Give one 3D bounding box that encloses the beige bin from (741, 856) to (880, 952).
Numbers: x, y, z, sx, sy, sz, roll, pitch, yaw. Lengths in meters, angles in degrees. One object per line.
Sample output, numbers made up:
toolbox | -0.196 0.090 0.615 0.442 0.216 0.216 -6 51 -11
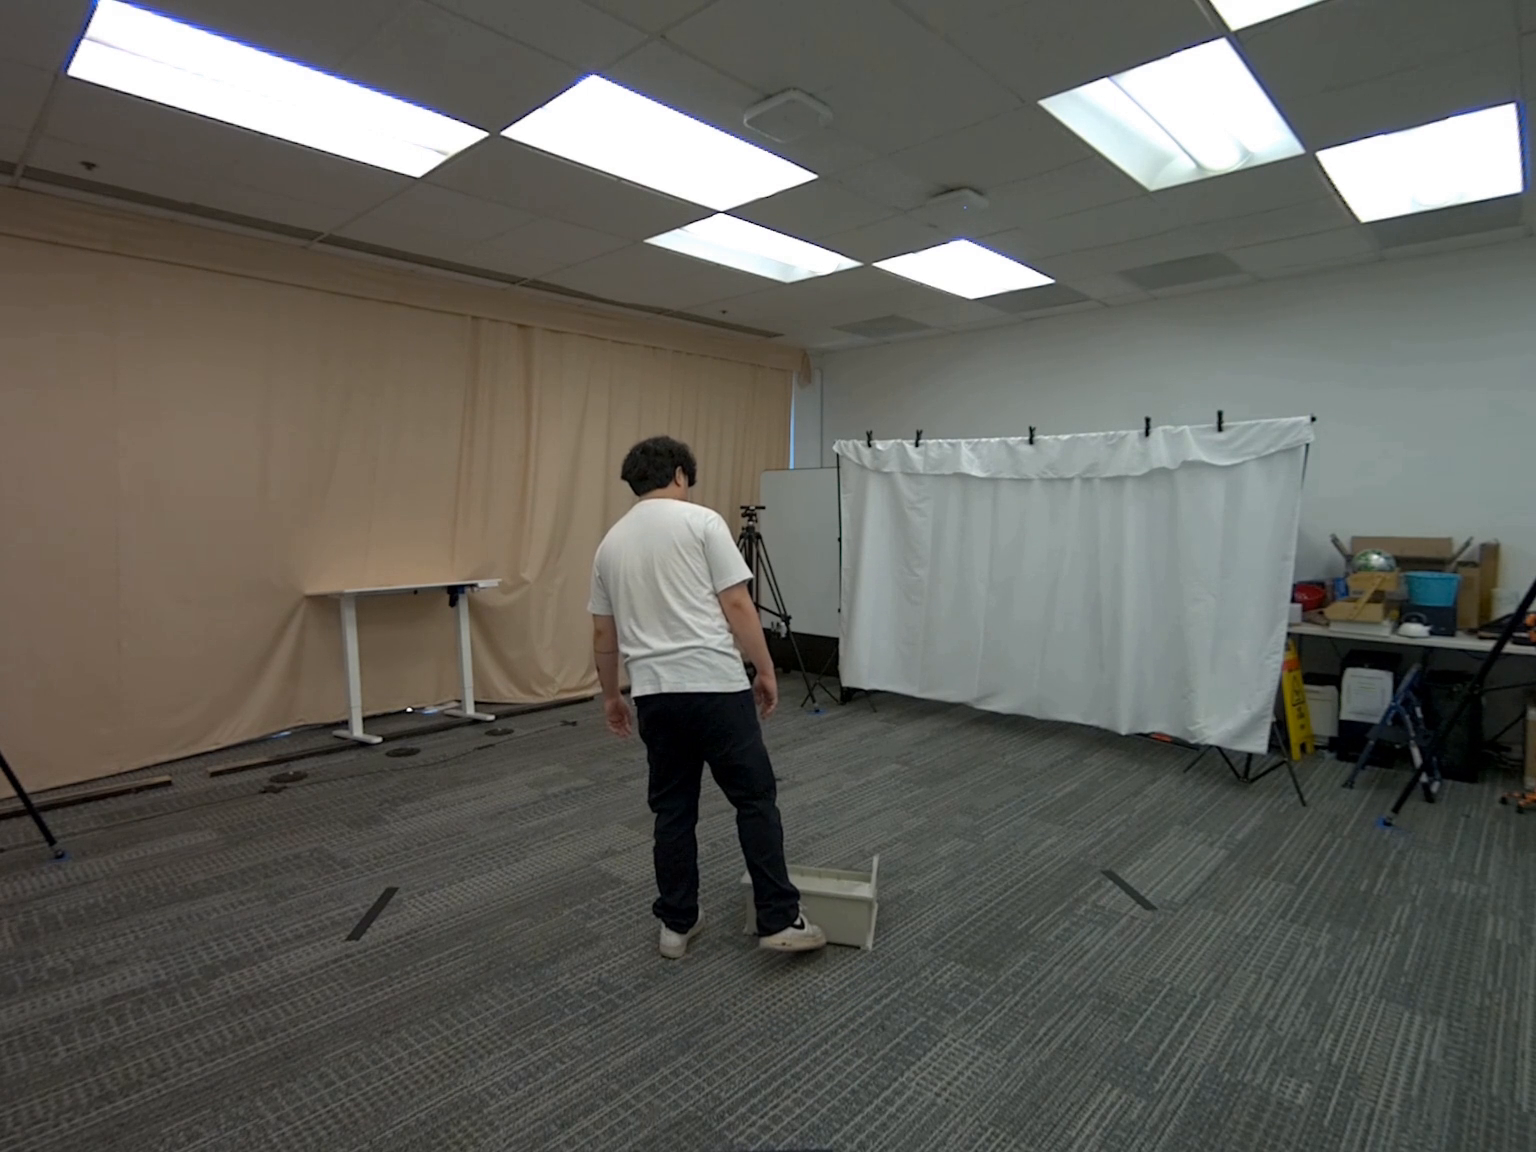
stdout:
beige bin | 0.156 1.068 2.848 0.428 0.188 0.373 2 6 12
